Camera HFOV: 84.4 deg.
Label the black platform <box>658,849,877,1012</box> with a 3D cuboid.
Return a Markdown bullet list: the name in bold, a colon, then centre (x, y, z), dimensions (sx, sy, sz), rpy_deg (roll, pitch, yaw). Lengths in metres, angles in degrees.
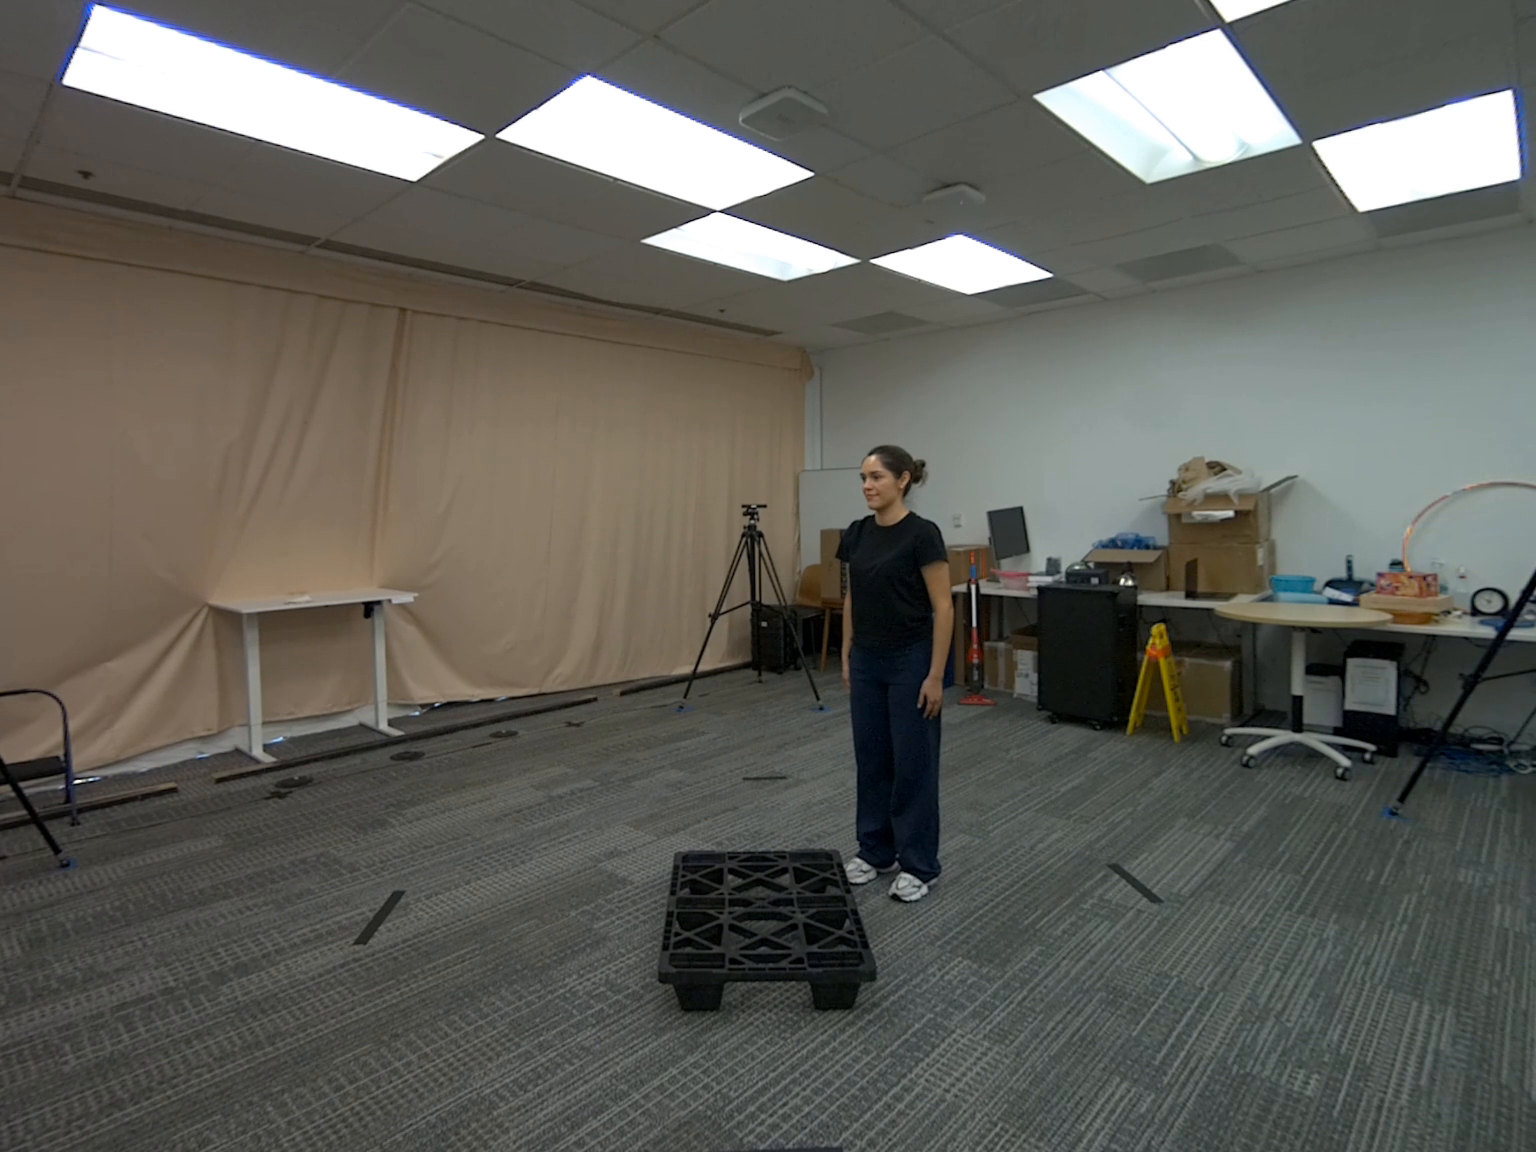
- **black platform**: centre (-0.006, 1.099, 2.674), dimensions (0.605, 0.143, 0.808), rpy_deg (-2, 5, -2)
